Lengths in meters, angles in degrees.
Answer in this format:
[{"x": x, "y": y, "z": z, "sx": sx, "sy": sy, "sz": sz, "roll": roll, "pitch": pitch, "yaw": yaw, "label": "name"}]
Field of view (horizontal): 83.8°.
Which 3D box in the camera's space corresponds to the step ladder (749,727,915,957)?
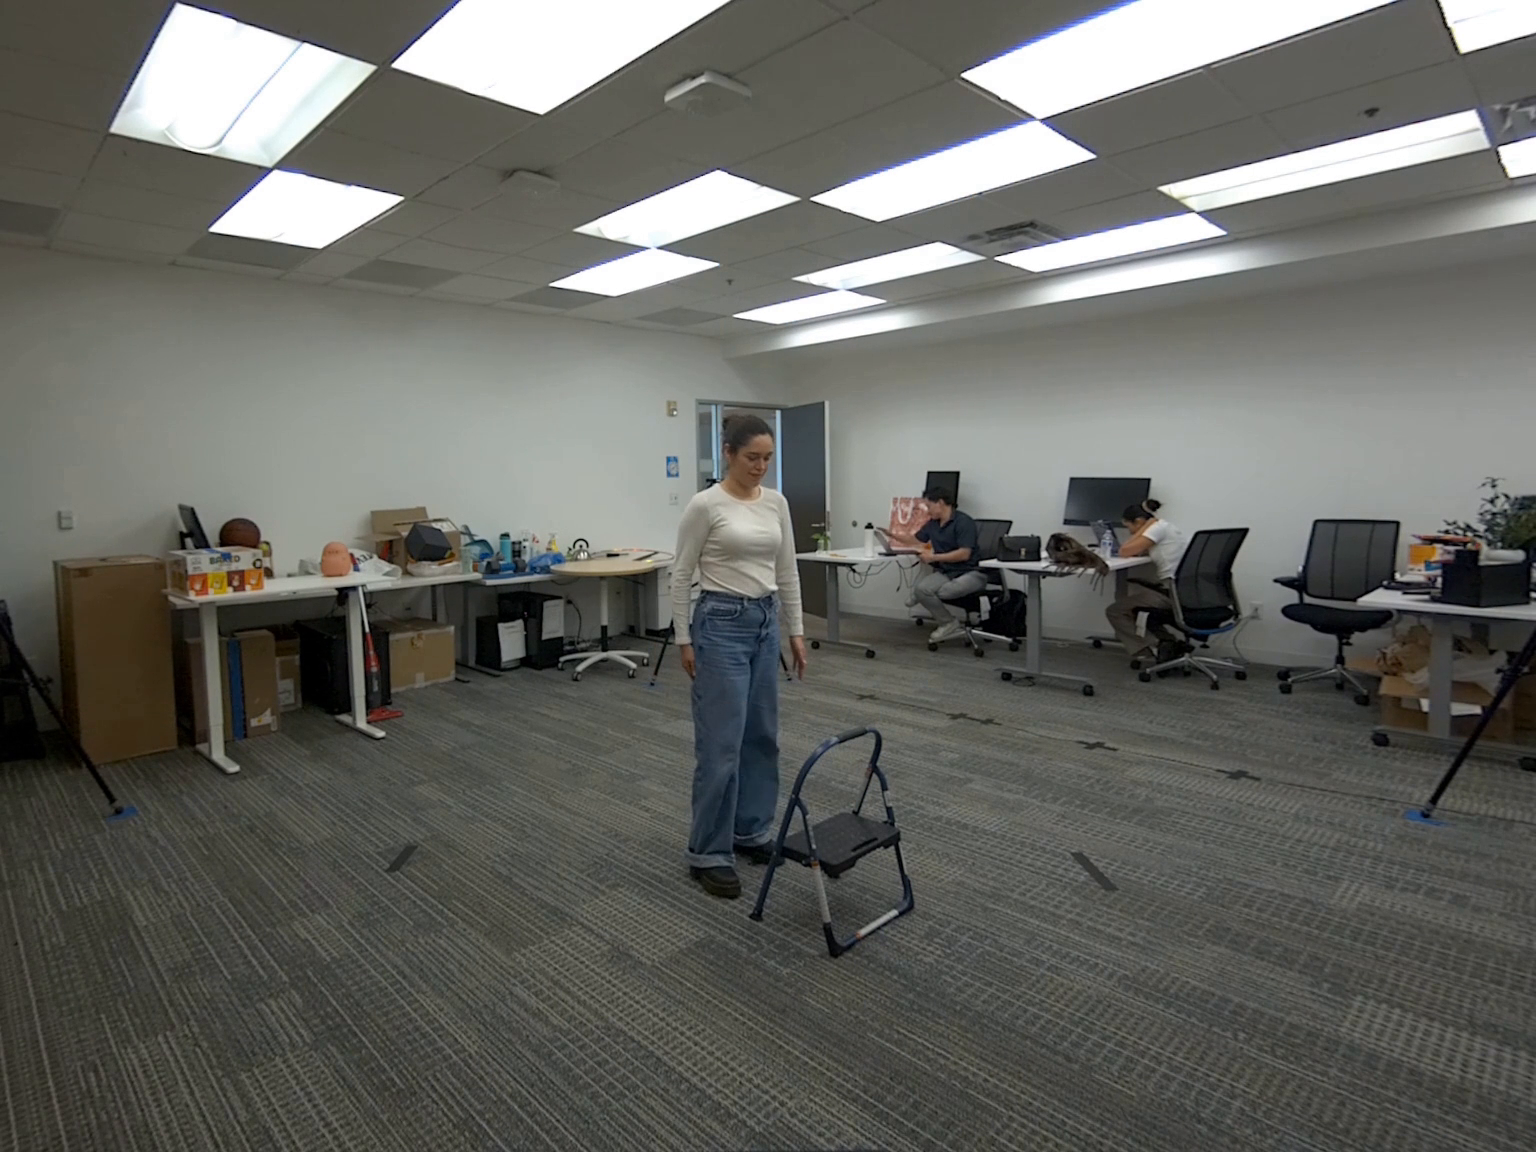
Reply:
[{"x": 0.204, "y": 0.779, "z": 2.729, "sx": 0.360, "sy": 0.604, "sz": 0.419, "roll": 2, "pitch": 6, "yaw": 44, "label": "step ladder"}]
